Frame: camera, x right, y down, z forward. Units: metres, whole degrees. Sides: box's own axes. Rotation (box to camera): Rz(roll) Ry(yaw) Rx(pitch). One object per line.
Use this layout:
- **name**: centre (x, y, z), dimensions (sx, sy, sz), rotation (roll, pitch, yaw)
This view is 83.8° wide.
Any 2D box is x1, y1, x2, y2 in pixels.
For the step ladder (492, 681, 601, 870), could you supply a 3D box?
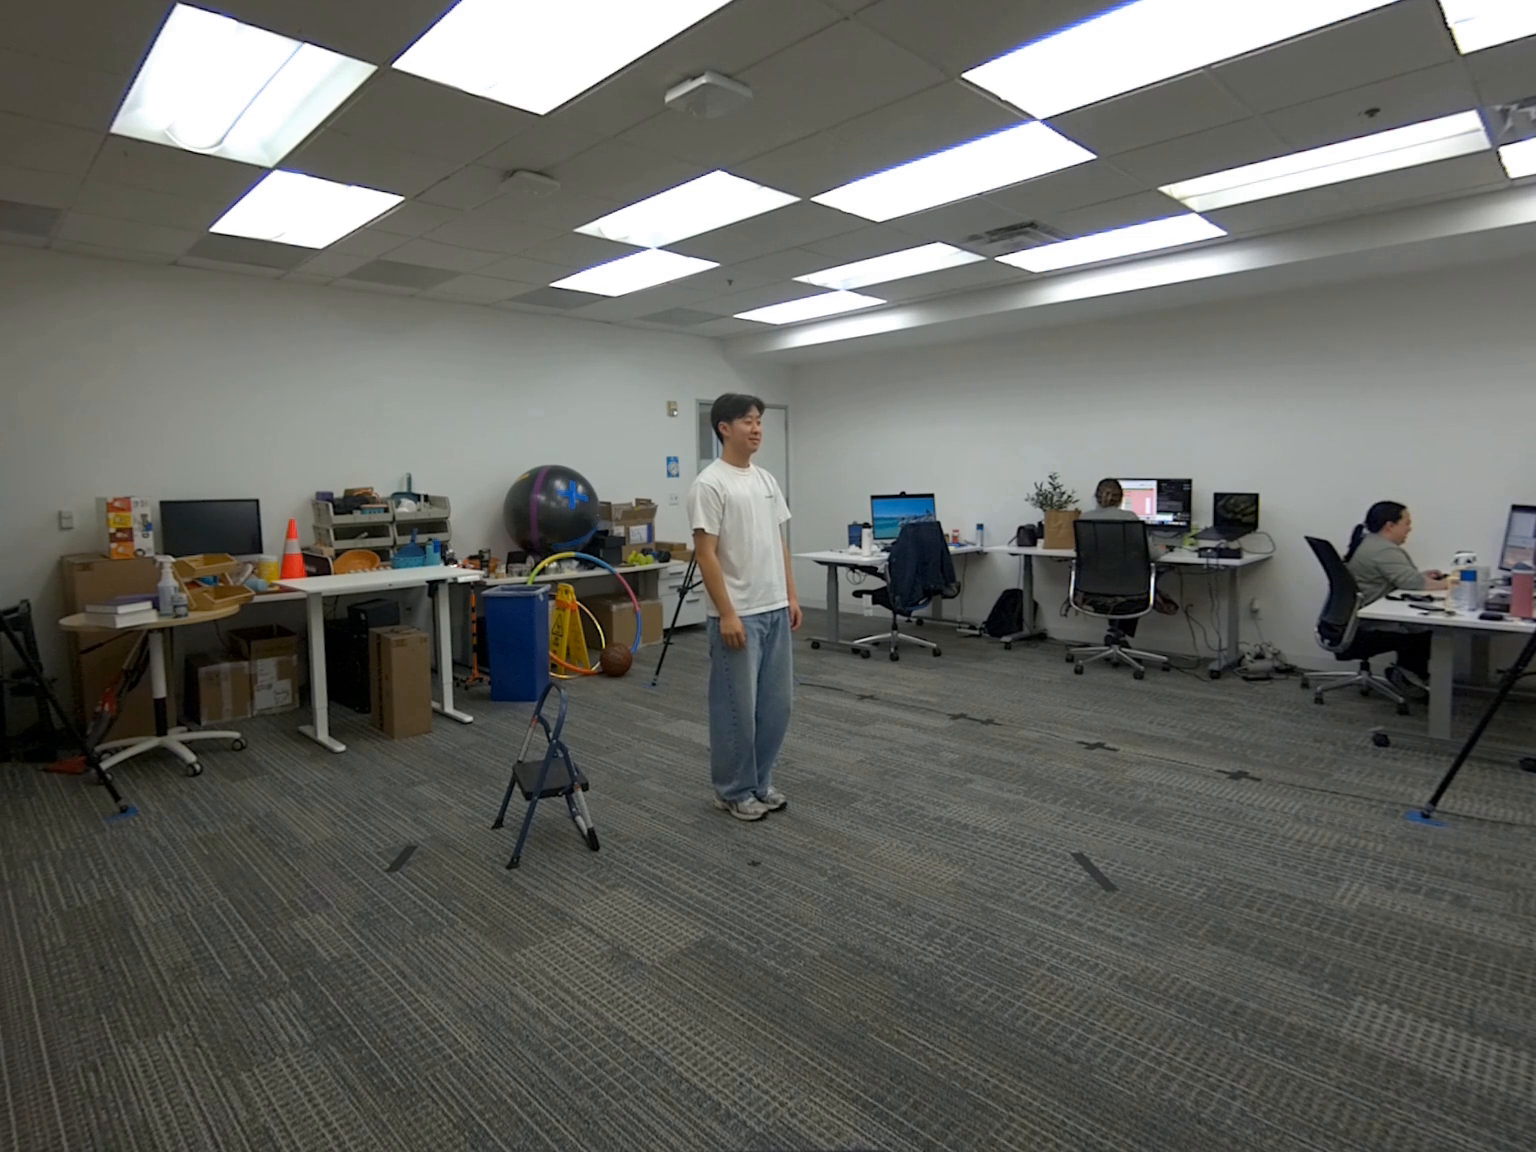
- **step ladder**: centre (-0.884, 0.730, 3.335), dimensions (0.342, 0.603, 0.441), rotation (-2, 5, -25)
